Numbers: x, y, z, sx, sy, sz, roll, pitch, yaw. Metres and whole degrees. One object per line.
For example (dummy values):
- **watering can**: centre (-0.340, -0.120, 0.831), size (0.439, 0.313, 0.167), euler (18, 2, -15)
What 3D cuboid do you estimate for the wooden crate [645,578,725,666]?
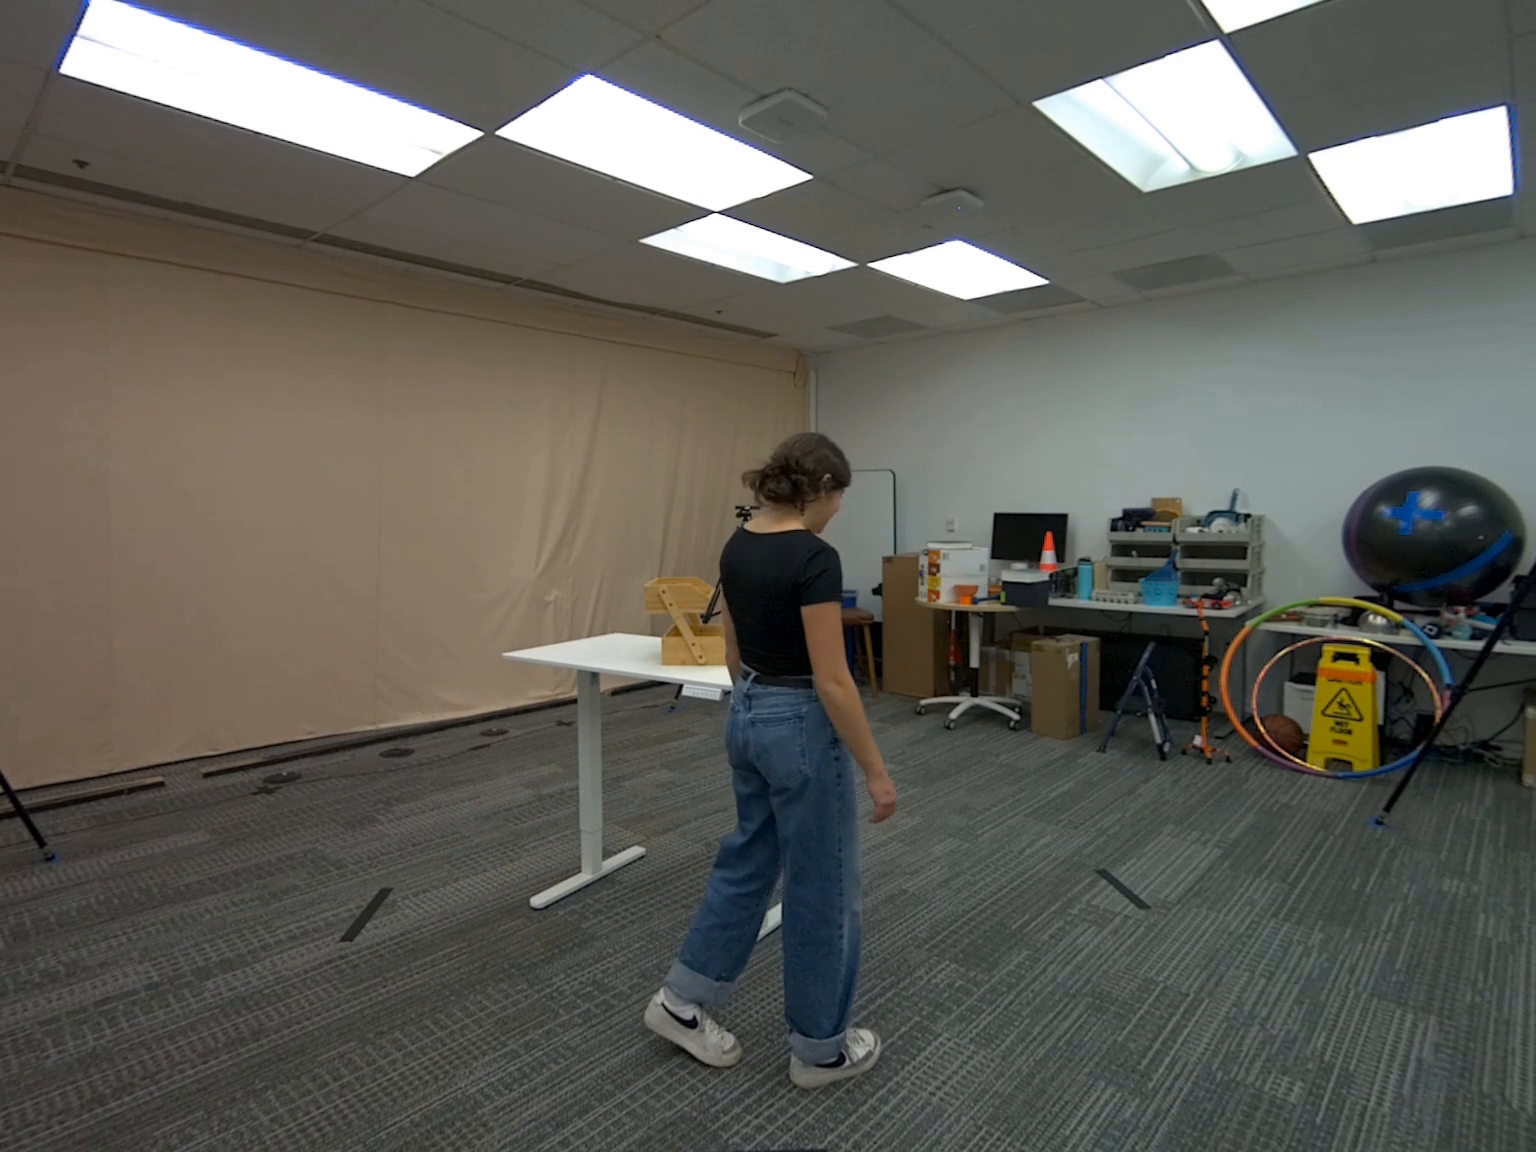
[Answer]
- **wooden crate**: centre (-0.239, 0.146, 2.830), size (0.303, 0.273, 0.324), euler (-1, 3, 2)
